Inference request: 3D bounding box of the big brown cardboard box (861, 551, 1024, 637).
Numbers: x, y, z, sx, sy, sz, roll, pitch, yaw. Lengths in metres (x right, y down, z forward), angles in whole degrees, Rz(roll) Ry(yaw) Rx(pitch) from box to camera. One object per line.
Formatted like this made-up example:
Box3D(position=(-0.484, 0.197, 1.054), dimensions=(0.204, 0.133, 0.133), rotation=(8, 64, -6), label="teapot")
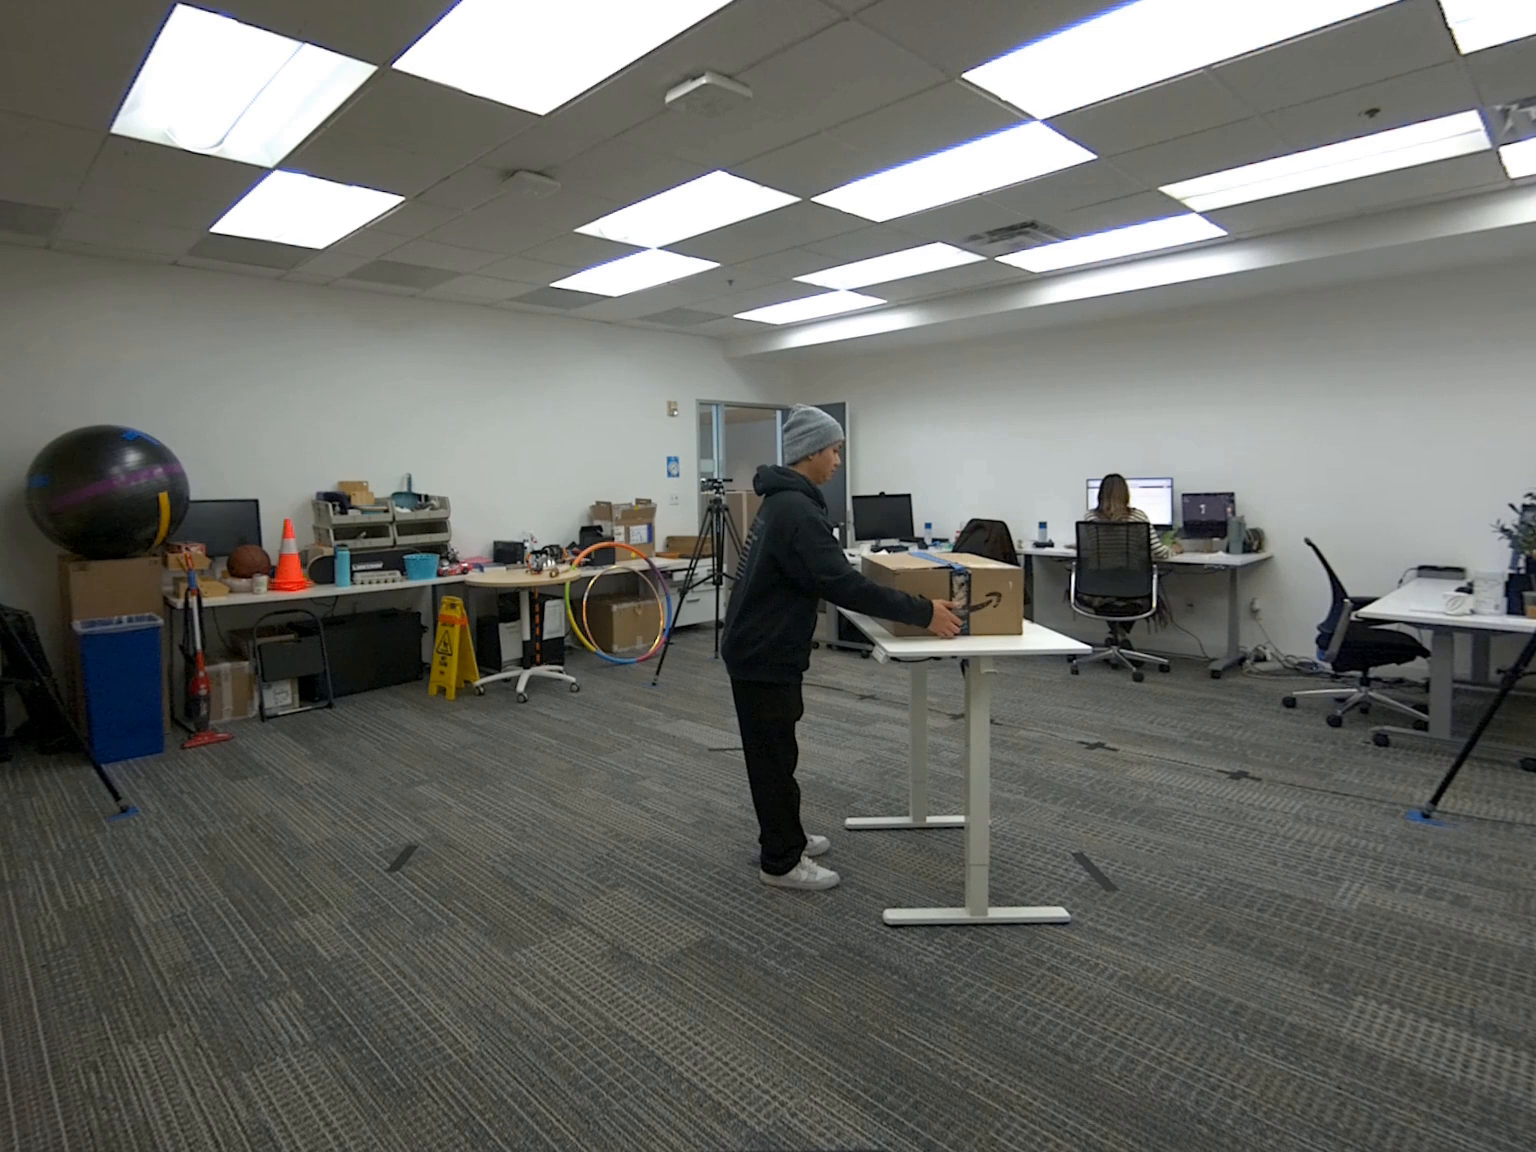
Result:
Box3D(position=(0.576, 0.056, 2.989), dimensions=(0.417, 0.232, 0.592), rotation=(-1, 5, -3), label="big brown cardboard box")
